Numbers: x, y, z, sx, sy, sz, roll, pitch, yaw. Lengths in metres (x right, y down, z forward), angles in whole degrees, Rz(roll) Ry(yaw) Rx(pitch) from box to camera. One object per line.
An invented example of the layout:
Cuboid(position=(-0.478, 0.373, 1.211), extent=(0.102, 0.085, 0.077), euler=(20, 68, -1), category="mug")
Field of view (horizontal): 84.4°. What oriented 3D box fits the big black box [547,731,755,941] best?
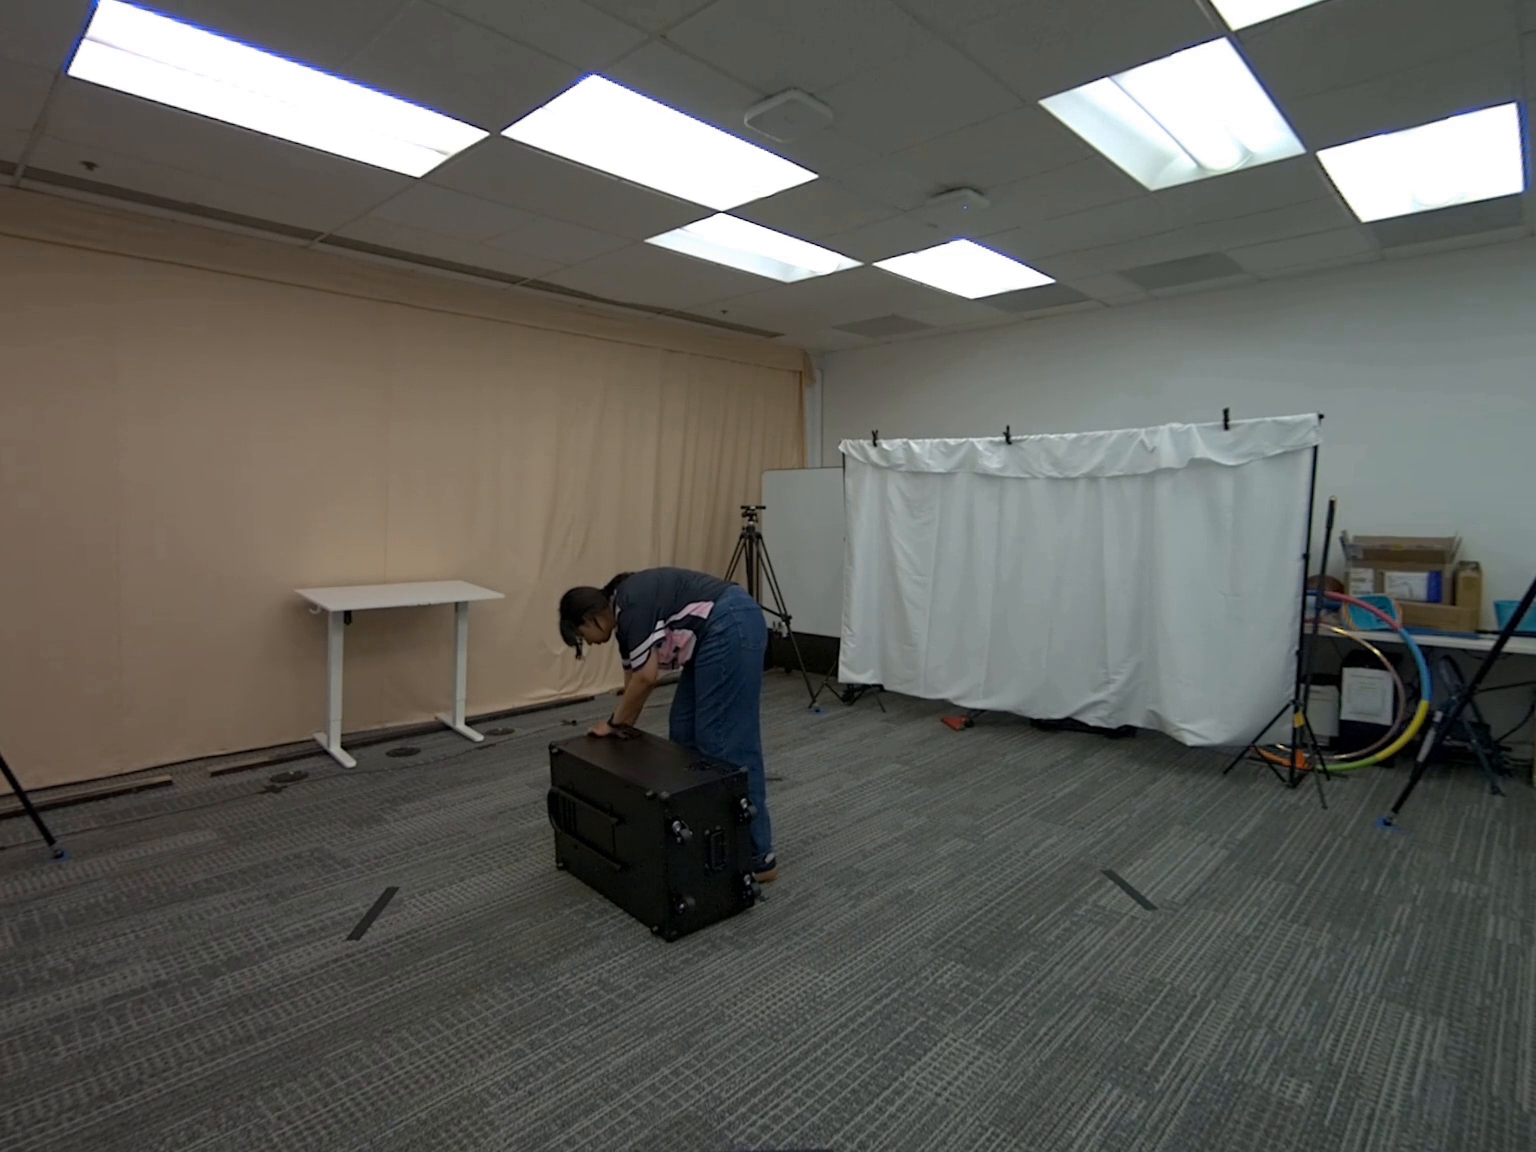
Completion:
Cuboid(position=(-0.429, 0.881, 3.039), extent=(0.373, 0.522, 0.897), euler=(-4, 5, -41), category="big black box")
